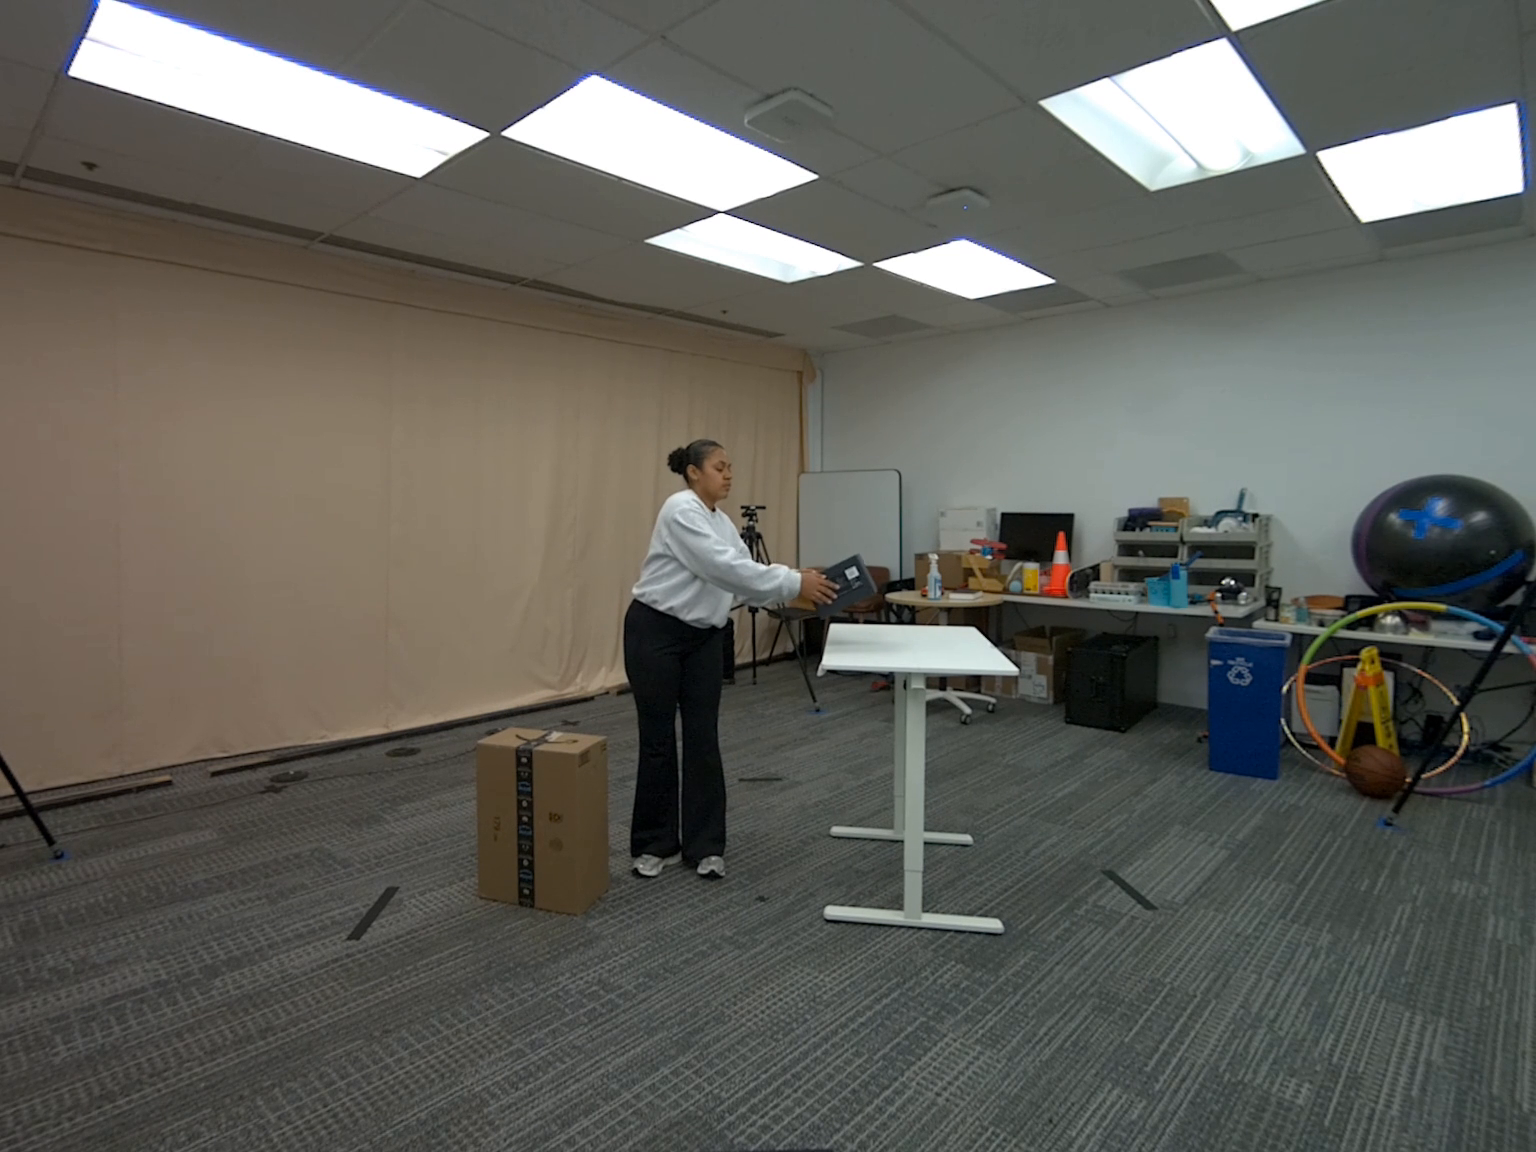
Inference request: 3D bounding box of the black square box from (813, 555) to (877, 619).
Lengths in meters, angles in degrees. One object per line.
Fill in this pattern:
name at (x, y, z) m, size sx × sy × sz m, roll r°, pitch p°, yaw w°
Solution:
black square box at (0.269, 0.038, 3.059) m, size 0.219 × 0.156 × 0.225 m, roll -23°, pitch -2°, yaw 13°
